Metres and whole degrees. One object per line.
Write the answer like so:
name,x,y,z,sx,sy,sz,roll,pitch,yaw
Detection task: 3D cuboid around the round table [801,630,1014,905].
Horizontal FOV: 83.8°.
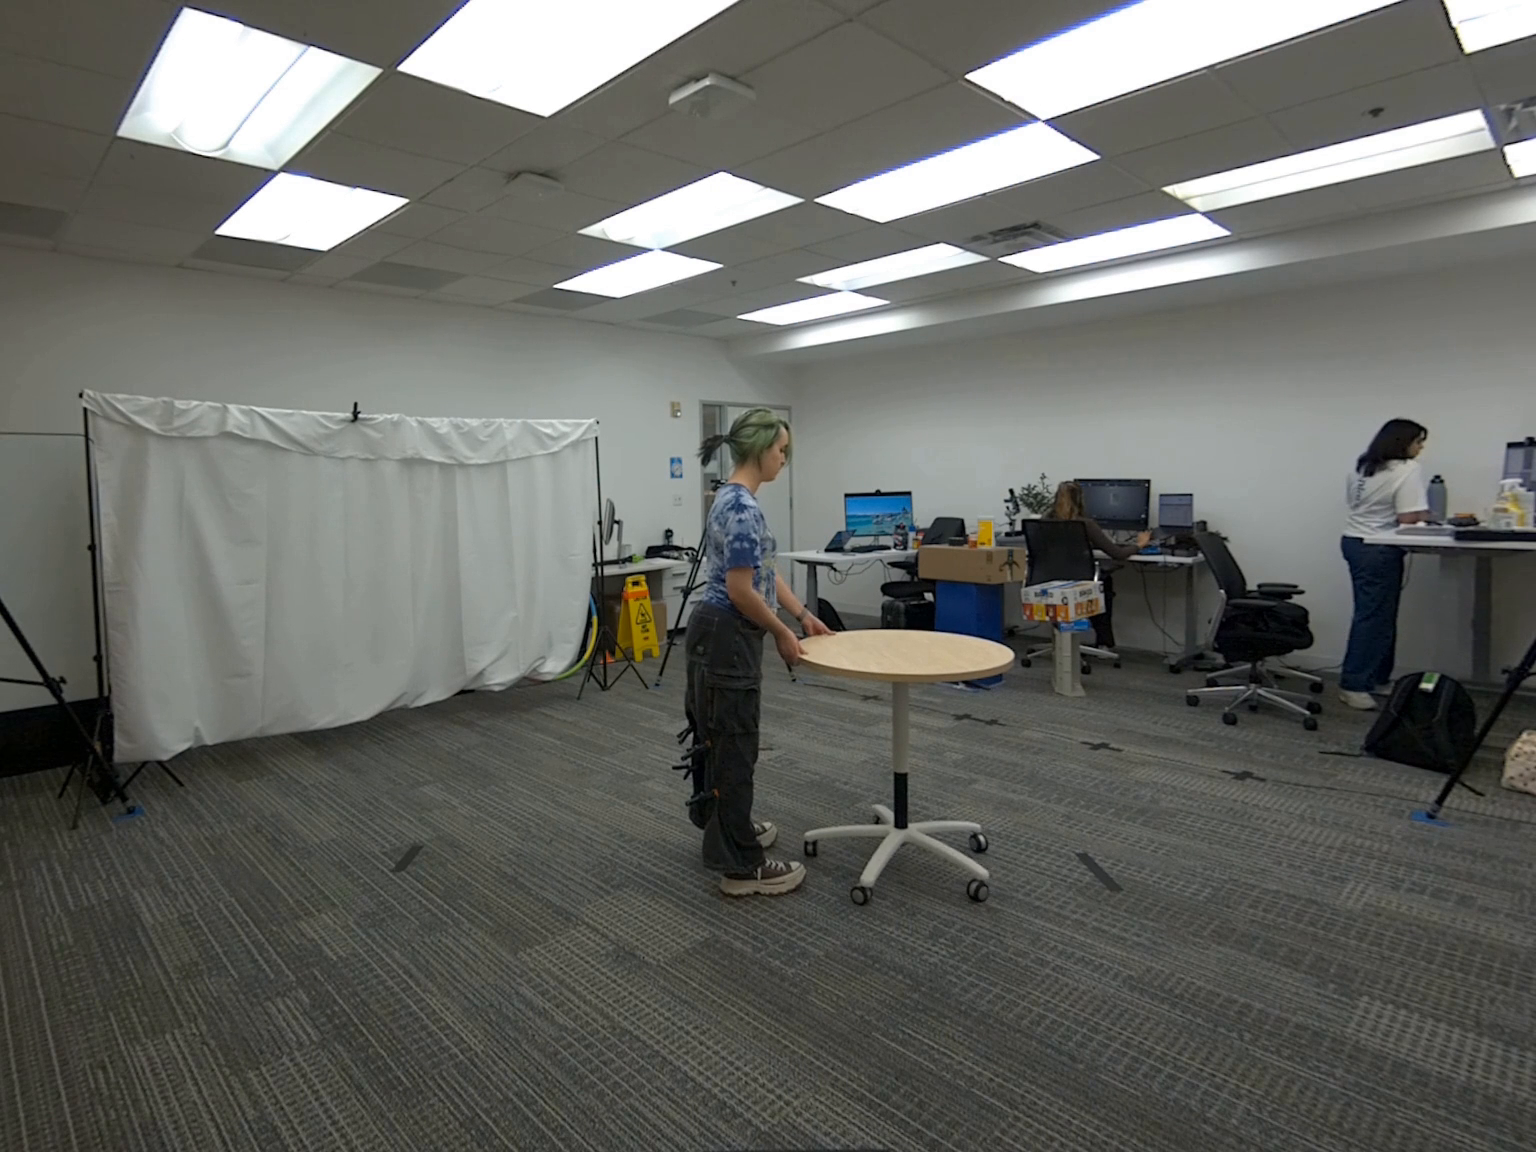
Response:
round table,0.478,0.651,3.056,0.763,0.791,0.768,-1,5,-2
